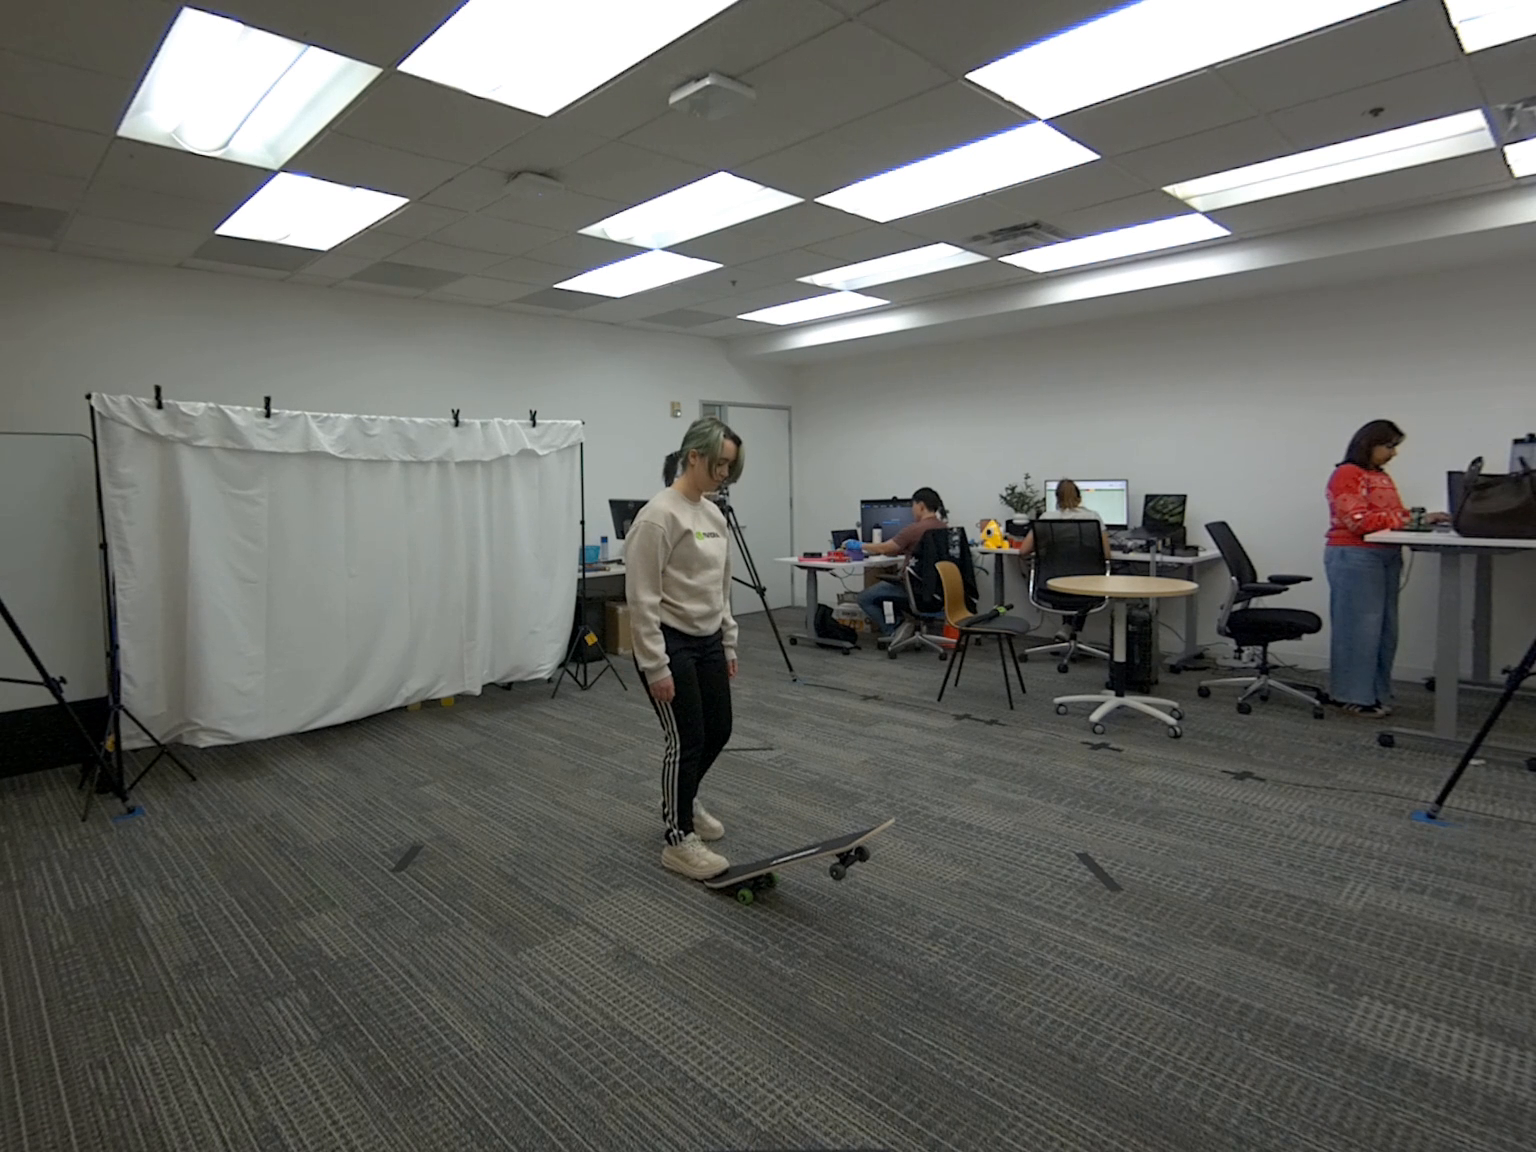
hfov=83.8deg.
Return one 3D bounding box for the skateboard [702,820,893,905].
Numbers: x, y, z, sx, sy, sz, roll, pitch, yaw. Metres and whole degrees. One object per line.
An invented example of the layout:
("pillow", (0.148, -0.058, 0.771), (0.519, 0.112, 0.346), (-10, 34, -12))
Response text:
("skateboard", (0.105, 0.945, 2.762), (0.793, 0.112, 0.189), (-31, -13, 34))
